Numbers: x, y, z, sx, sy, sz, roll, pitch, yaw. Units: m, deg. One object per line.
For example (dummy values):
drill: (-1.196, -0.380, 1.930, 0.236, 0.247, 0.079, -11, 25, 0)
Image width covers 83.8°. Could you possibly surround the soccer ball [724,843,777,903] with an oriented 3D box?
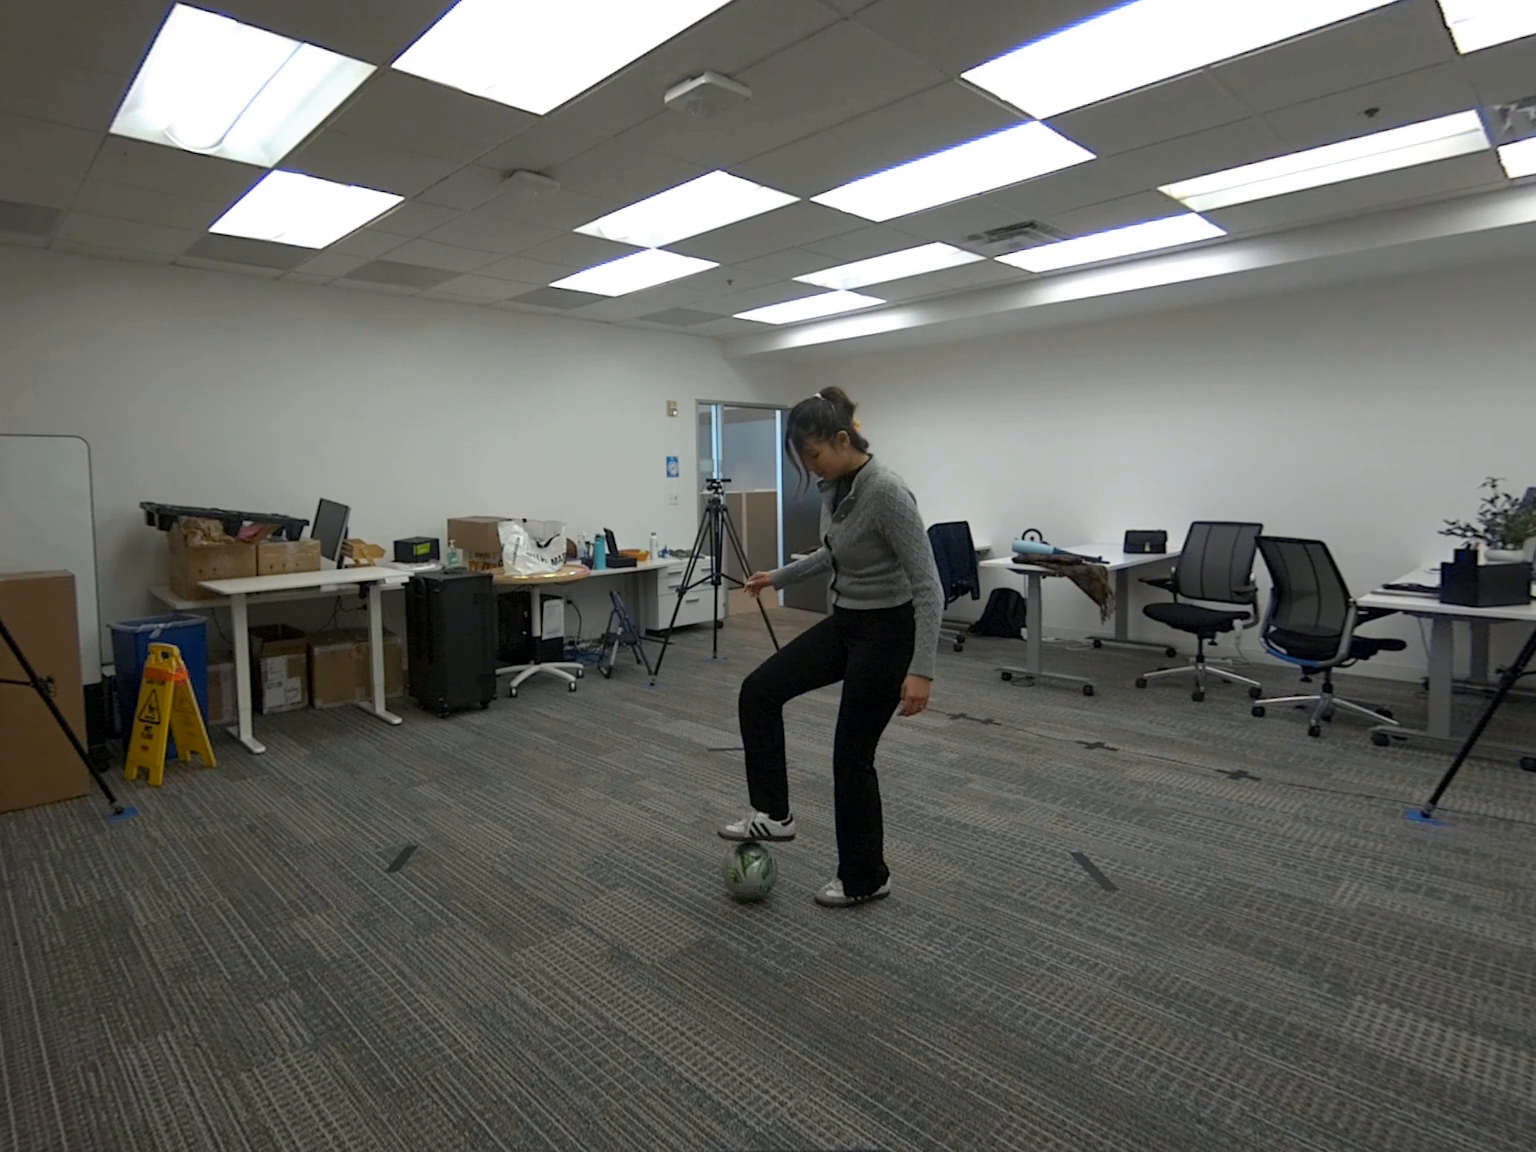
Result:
soccer ball: (-0.056, 0.982, 2.849, 0.187, 0.187, 0.188, -1, 5, -2)
